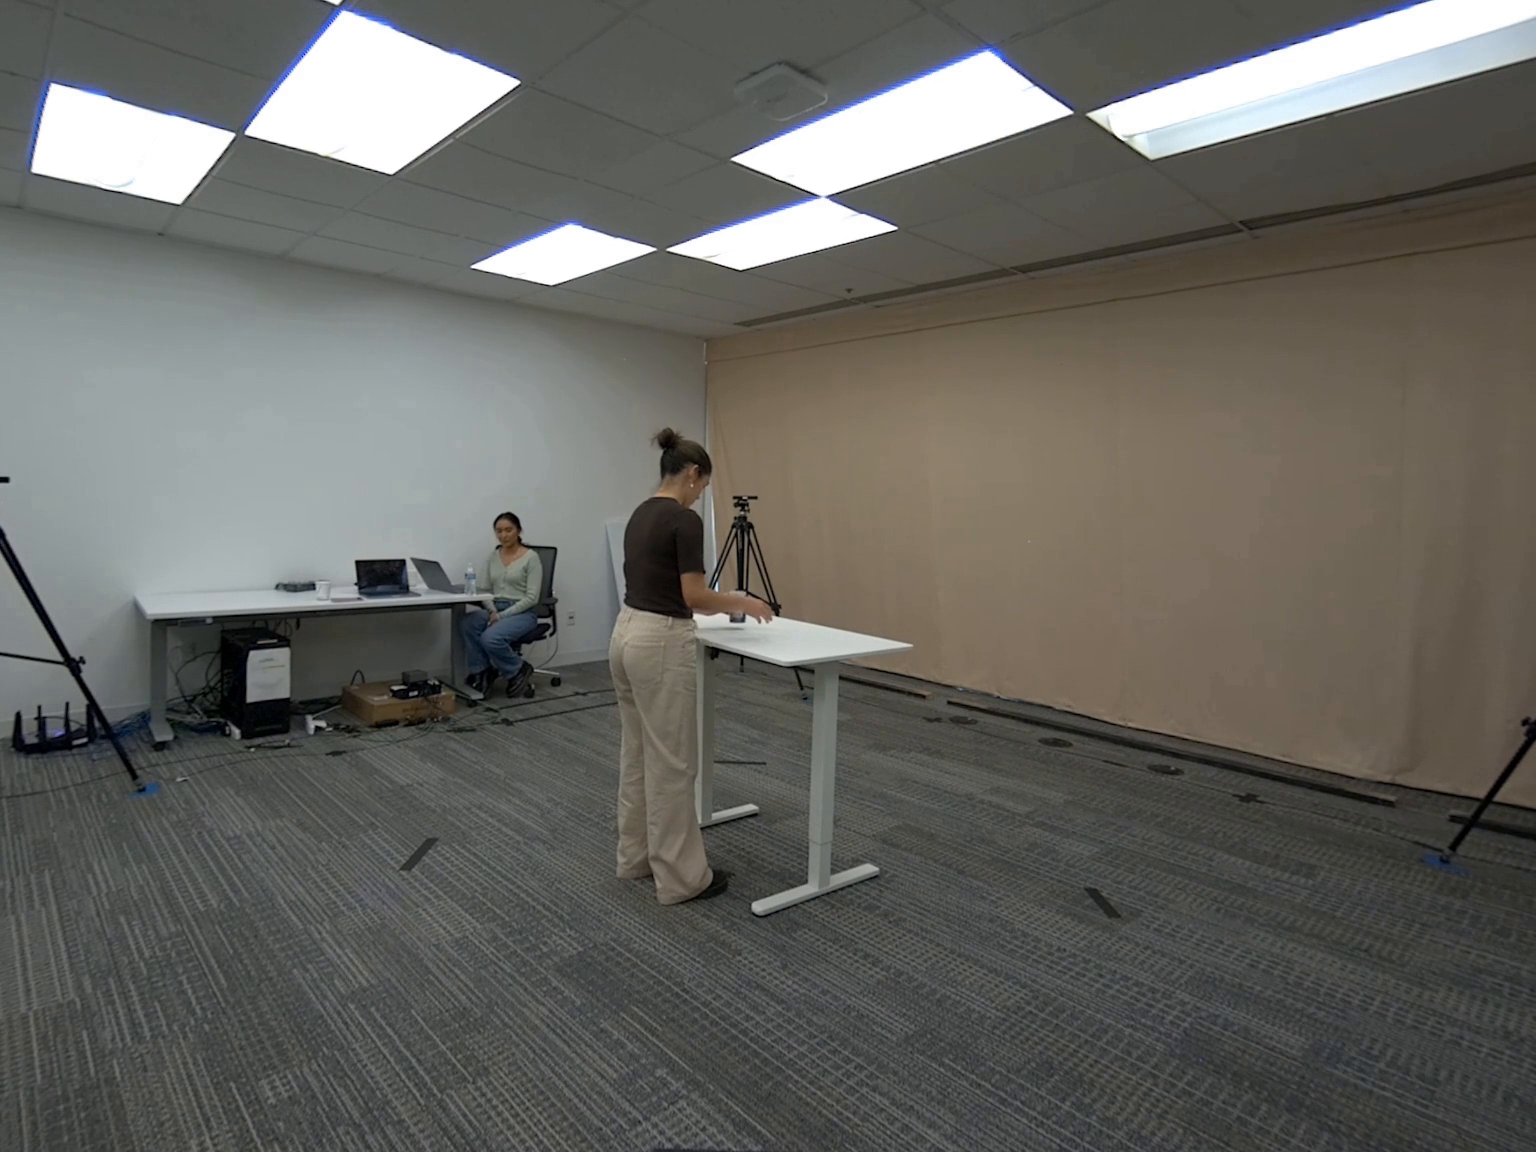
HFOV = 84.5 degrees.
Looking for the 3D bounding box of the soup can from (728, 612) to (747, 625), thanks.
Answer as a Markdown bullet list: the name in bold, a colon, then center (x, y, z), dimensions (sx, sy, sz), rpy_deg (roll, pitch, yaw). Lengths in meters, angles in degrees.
- **soup can**: center (-0.122, 0.124, 3.264), dimensions (0.067, 0.121, 0.067), rpy_deg (-2, 1, -1)
